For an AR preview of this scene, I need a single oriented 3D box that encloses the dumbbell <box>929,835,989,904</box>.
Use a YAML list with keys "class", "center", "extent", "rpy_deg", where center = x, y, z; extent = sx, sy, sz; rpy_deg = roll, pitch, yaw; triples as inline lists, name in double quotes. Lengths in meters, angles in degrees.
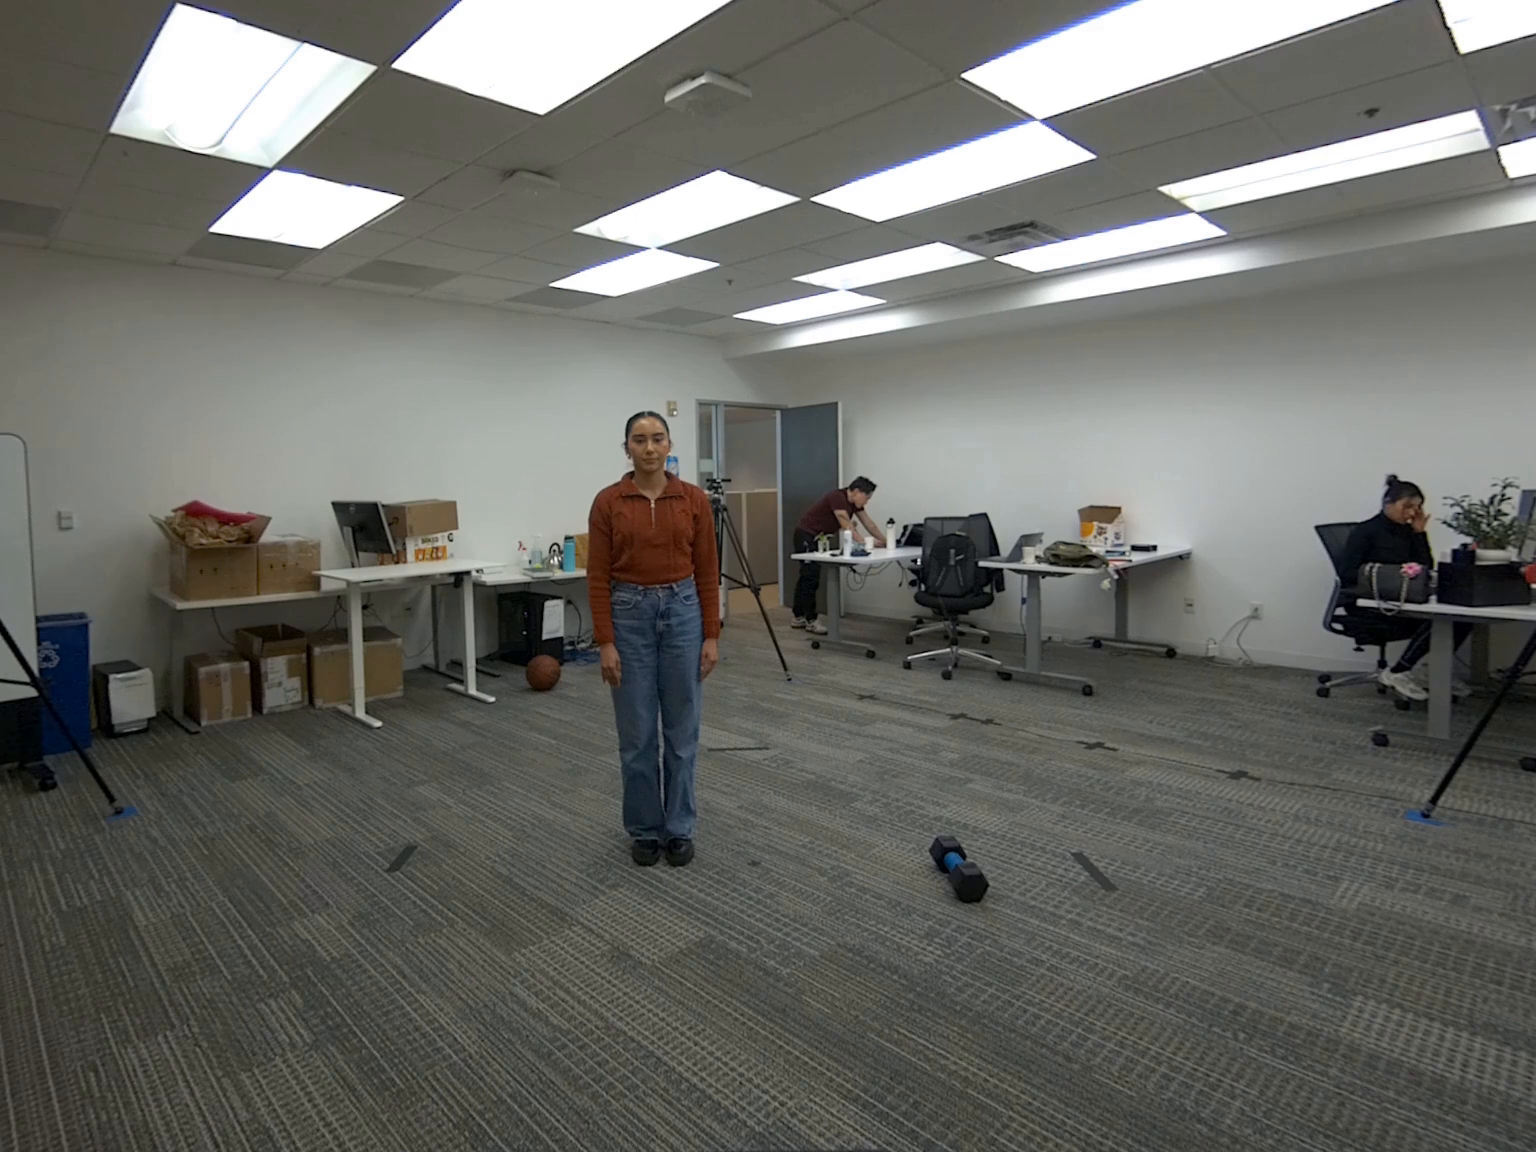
- class: "dumbbell"
  center: [0.658, 1.001, 2.920]
  extent: [0.109, 0.122, 0.295]
  rpy_deg: [-31, 7, 0]
